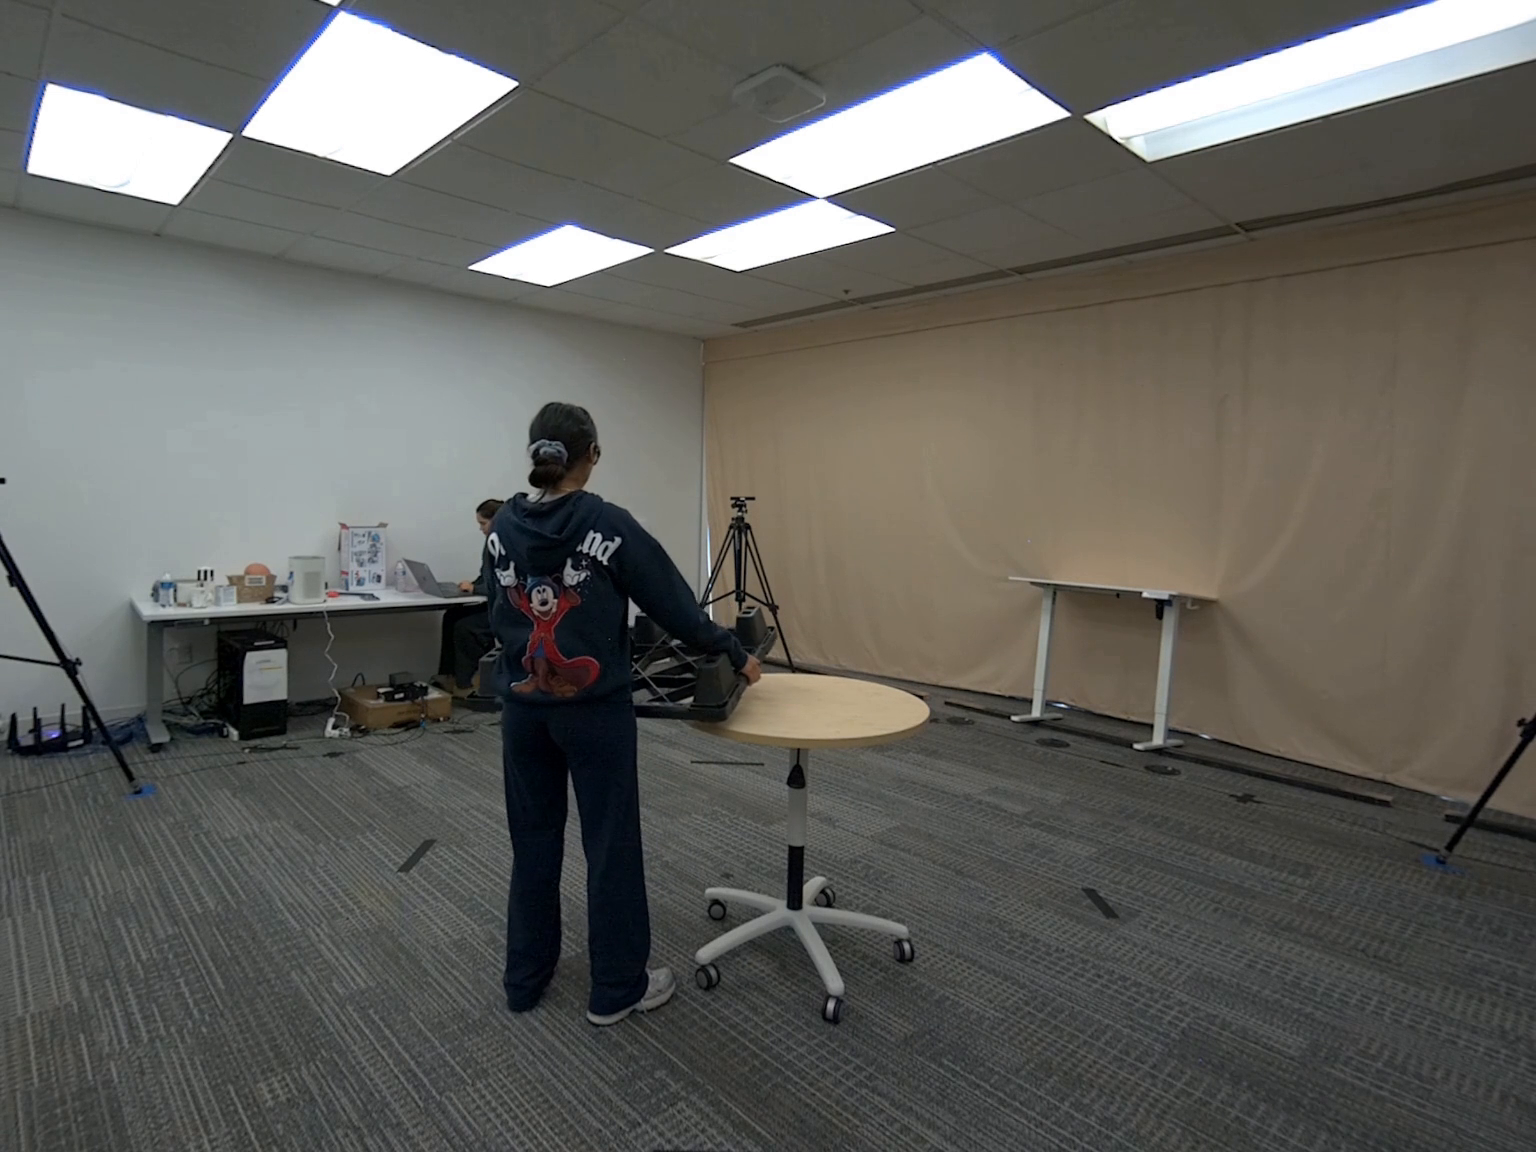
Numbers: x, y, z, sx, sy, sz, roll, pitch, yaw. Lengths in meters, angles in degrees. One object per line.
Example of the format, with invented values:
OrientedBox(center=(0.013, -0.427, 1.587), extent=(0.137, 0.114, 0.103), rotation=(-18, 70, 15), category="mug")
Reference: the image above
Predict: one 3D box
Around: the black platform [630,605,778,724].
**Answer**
OrientedBox(center=(-0.421, 0.239, 2.566), extent=(0.816, 0.141, 0.606), rotation=(1, 19, 16), category="black platform")
